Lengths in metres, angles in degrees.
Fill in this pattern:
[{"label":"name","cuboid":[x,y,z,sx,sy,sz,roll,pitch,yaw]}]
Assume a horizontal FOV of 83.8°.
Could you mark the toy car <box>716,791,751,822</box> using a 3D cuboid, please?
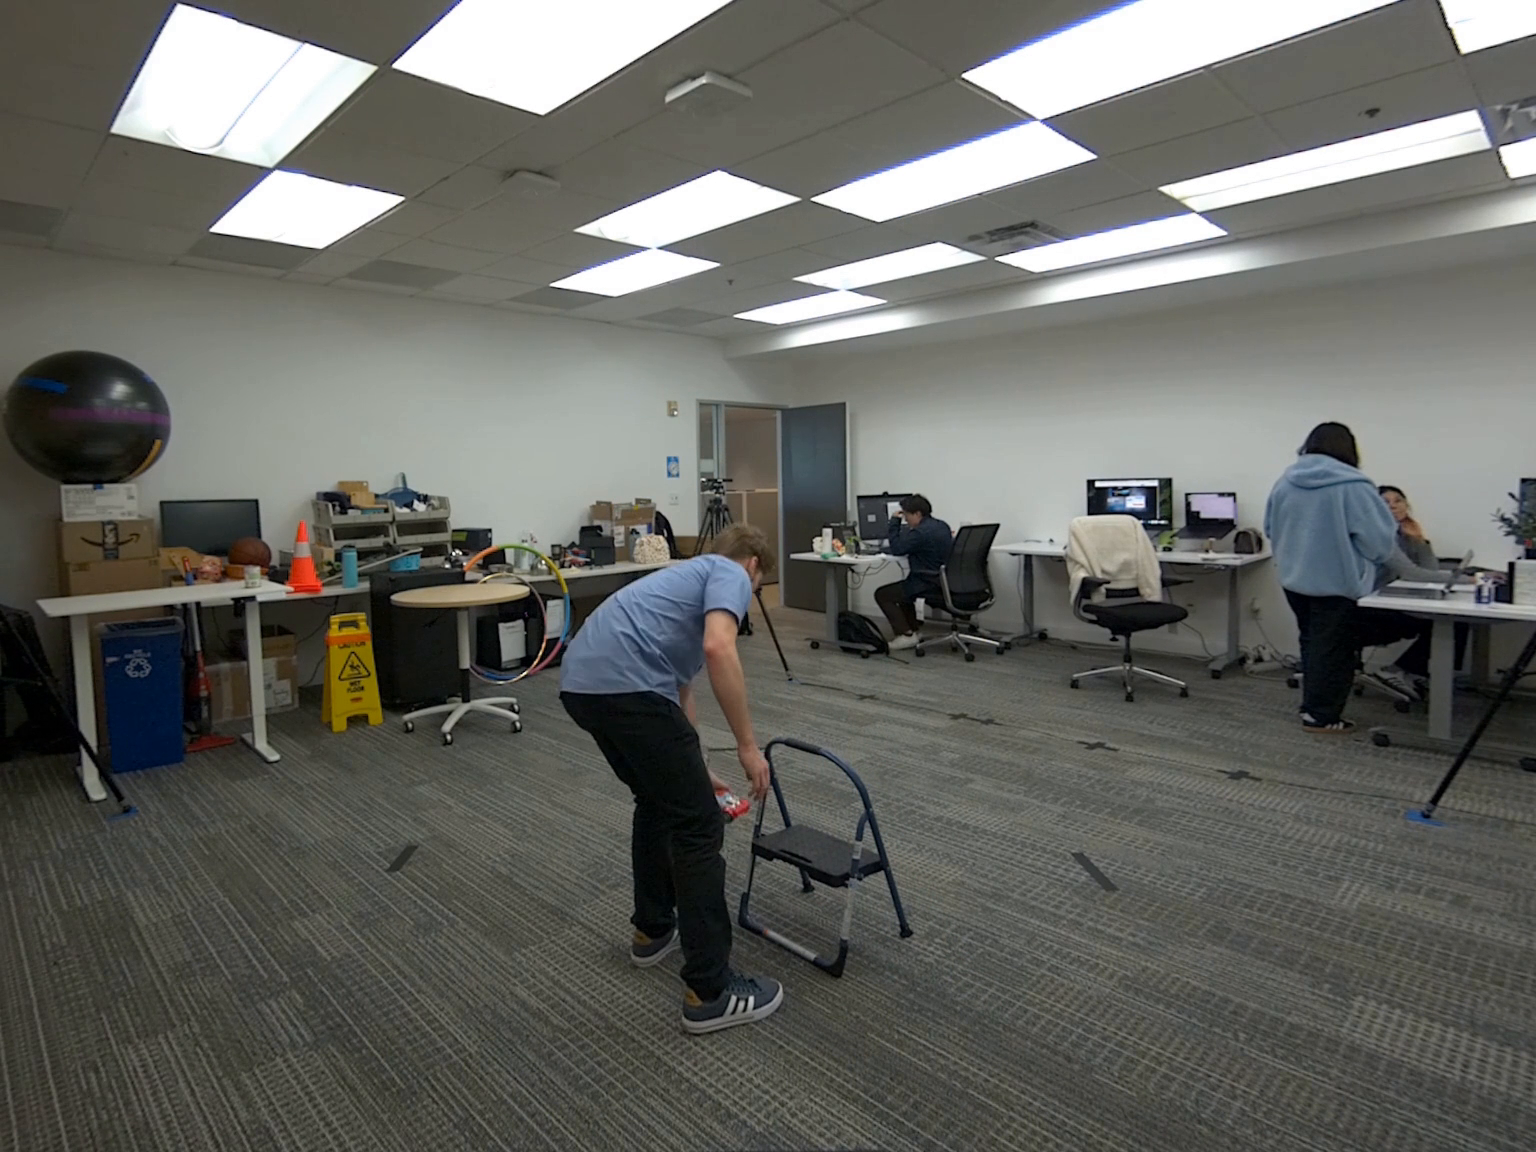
[{"label":"toy car","cuboid":[-0.188,0.766,2.906,0.264,0.082,0.127,24,21,35]}]
